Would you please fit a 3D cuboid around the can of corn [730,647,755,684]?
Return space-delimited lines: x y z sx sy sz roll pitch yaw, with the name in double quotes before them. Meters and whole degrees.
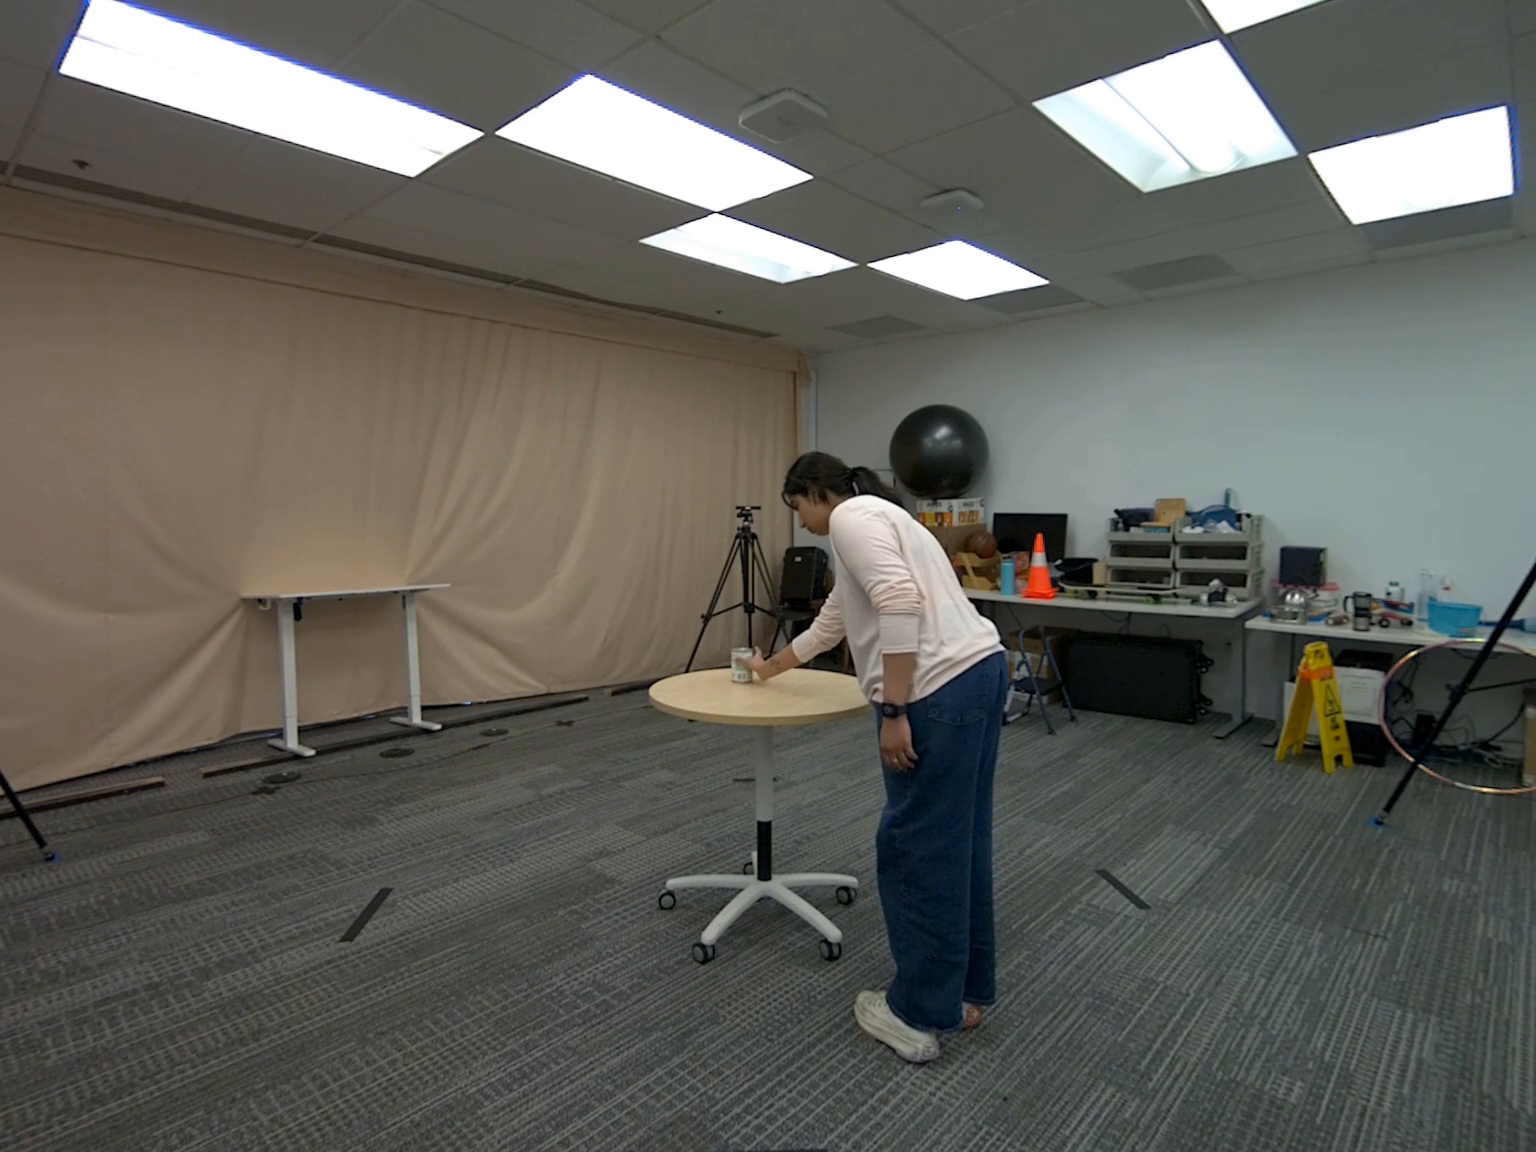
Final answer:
"can of corn" -0.085 0.313 2.923 0.074 0.111 0.074 2 3 -2
